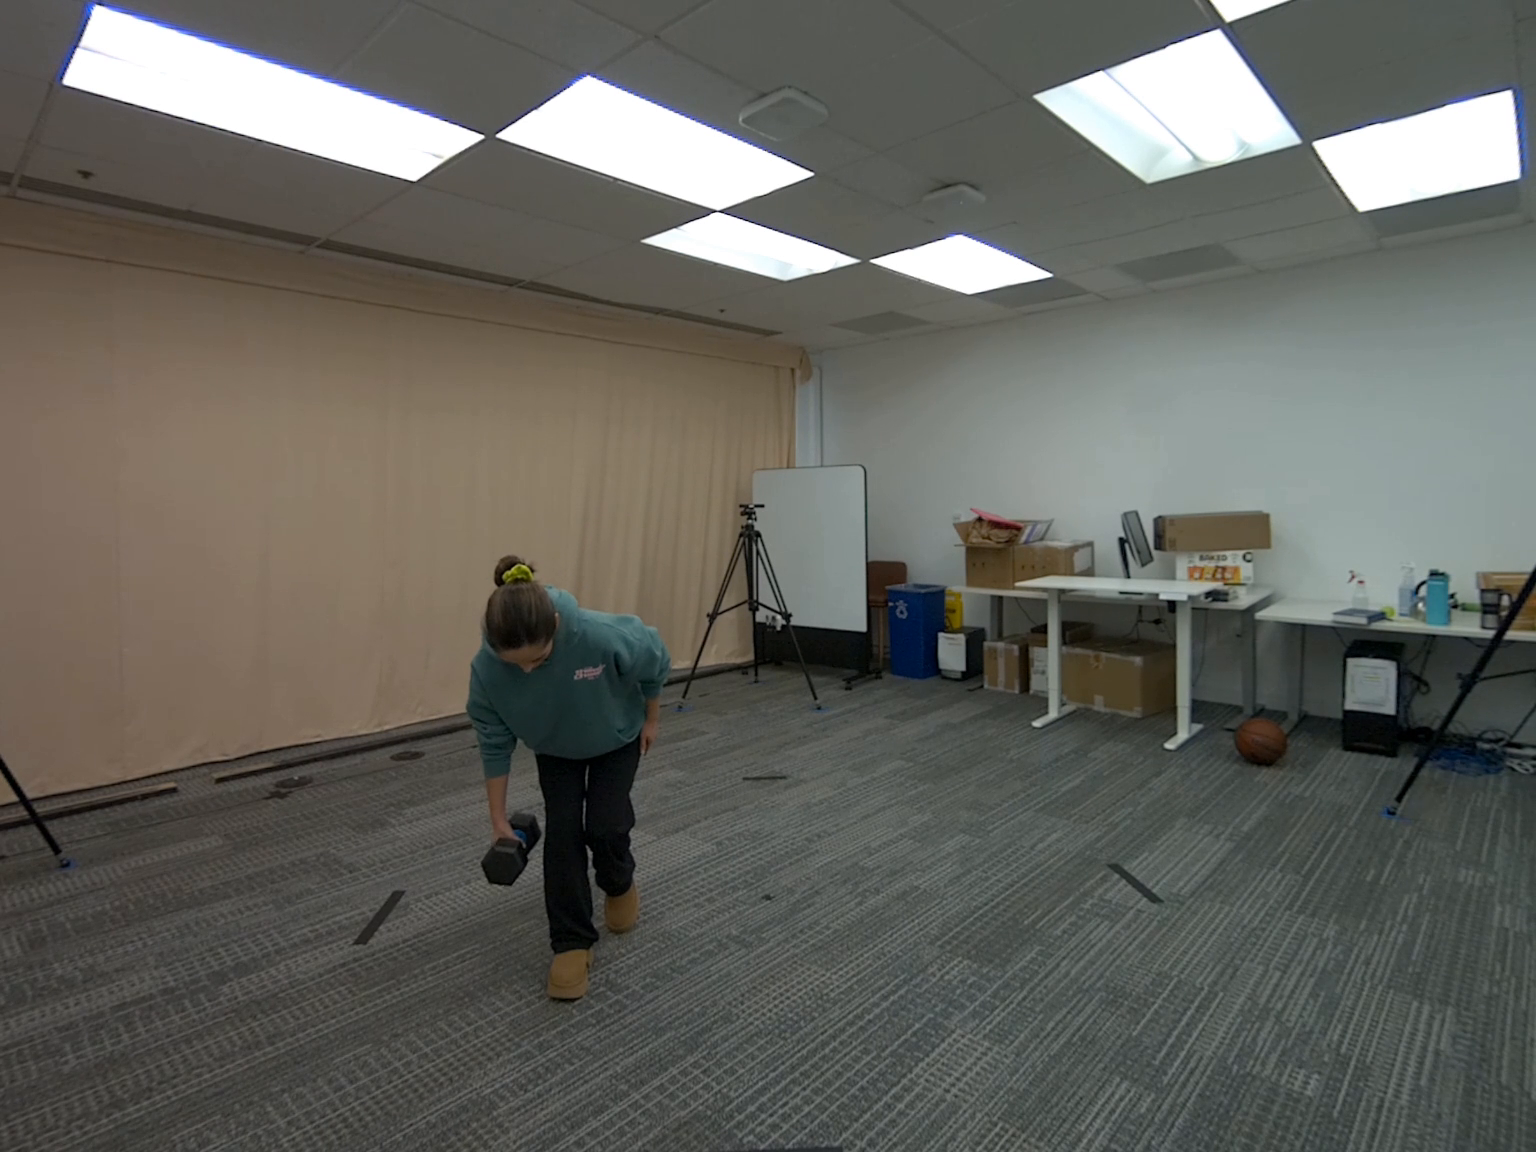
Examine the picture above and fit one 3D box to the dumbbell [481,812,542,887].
[{"bbox_3d":[-0.735,0.784,2.423,0.108,0.123,0.294,-22,3,-3],"label":"dumbbell"}]
